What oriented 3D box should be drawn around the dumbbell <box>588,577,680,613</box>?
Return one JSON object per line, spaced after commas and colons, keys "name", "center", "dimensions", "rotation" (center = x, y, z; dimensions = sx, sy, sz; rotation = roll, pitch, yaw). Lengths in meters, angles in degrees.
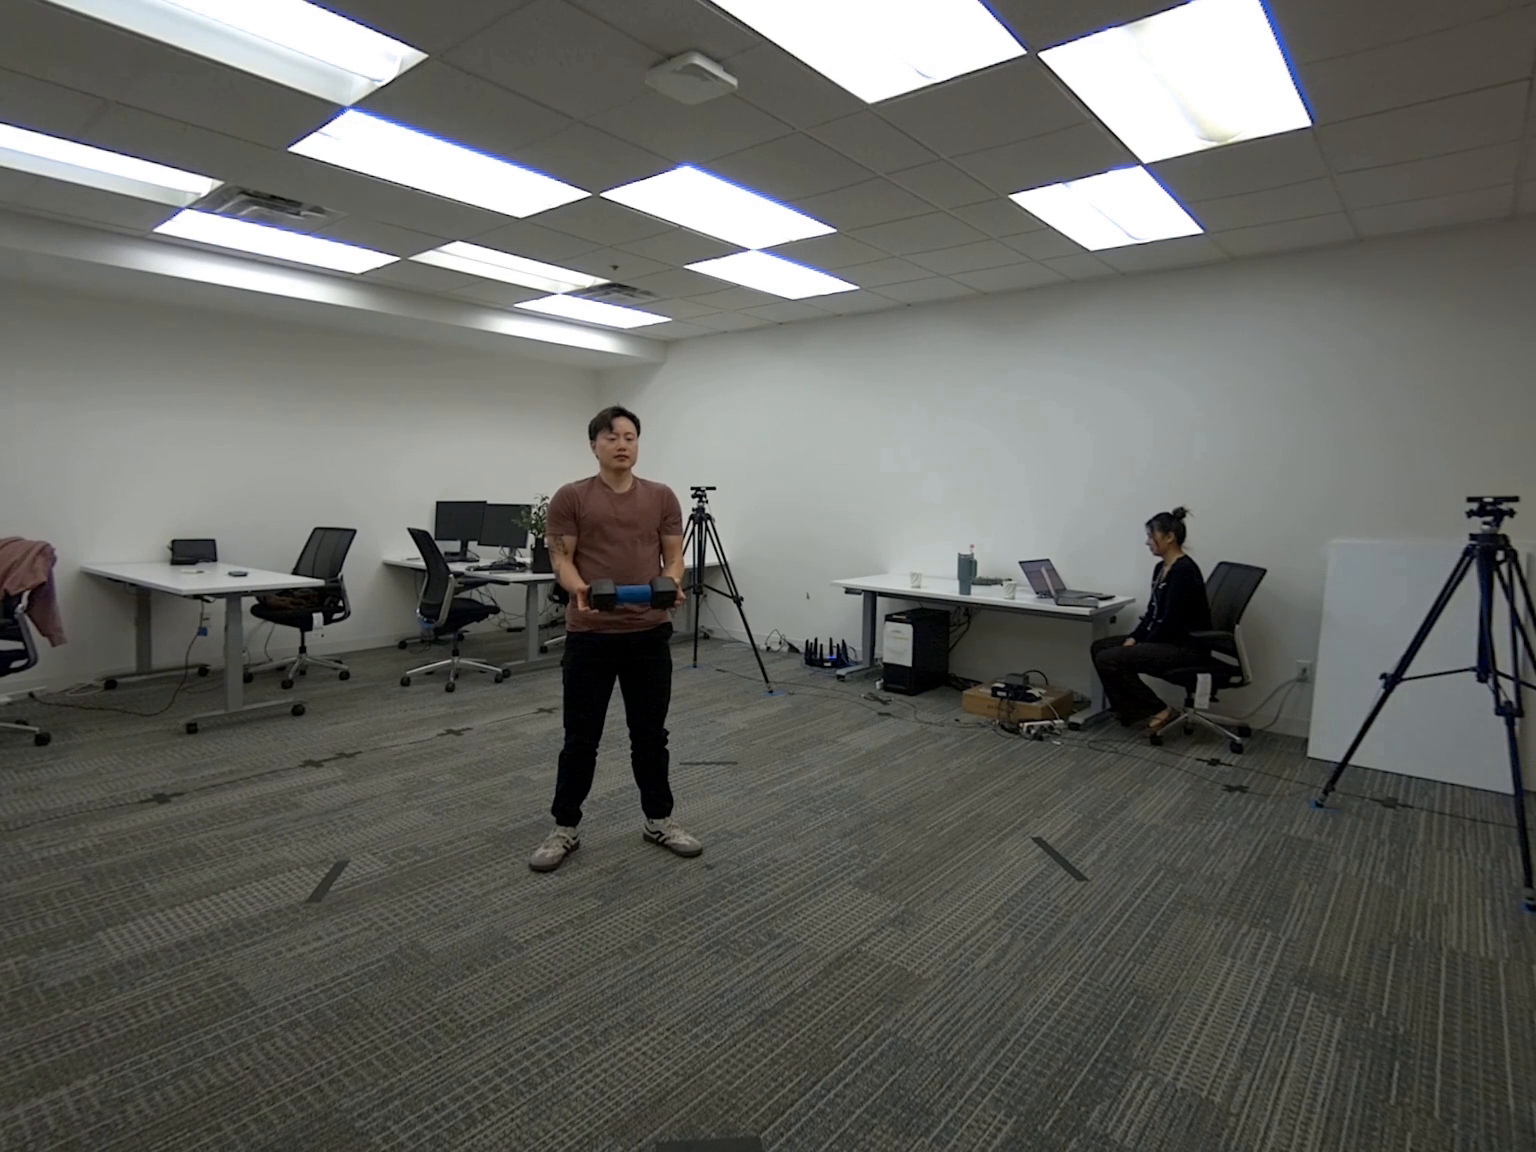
{"name": "dumbbell", "center": [-0.480, 0.055, 2.932], "dimensions": [0.288, 0.127, 0.107], "rotation": [-3, -38, -21]}
